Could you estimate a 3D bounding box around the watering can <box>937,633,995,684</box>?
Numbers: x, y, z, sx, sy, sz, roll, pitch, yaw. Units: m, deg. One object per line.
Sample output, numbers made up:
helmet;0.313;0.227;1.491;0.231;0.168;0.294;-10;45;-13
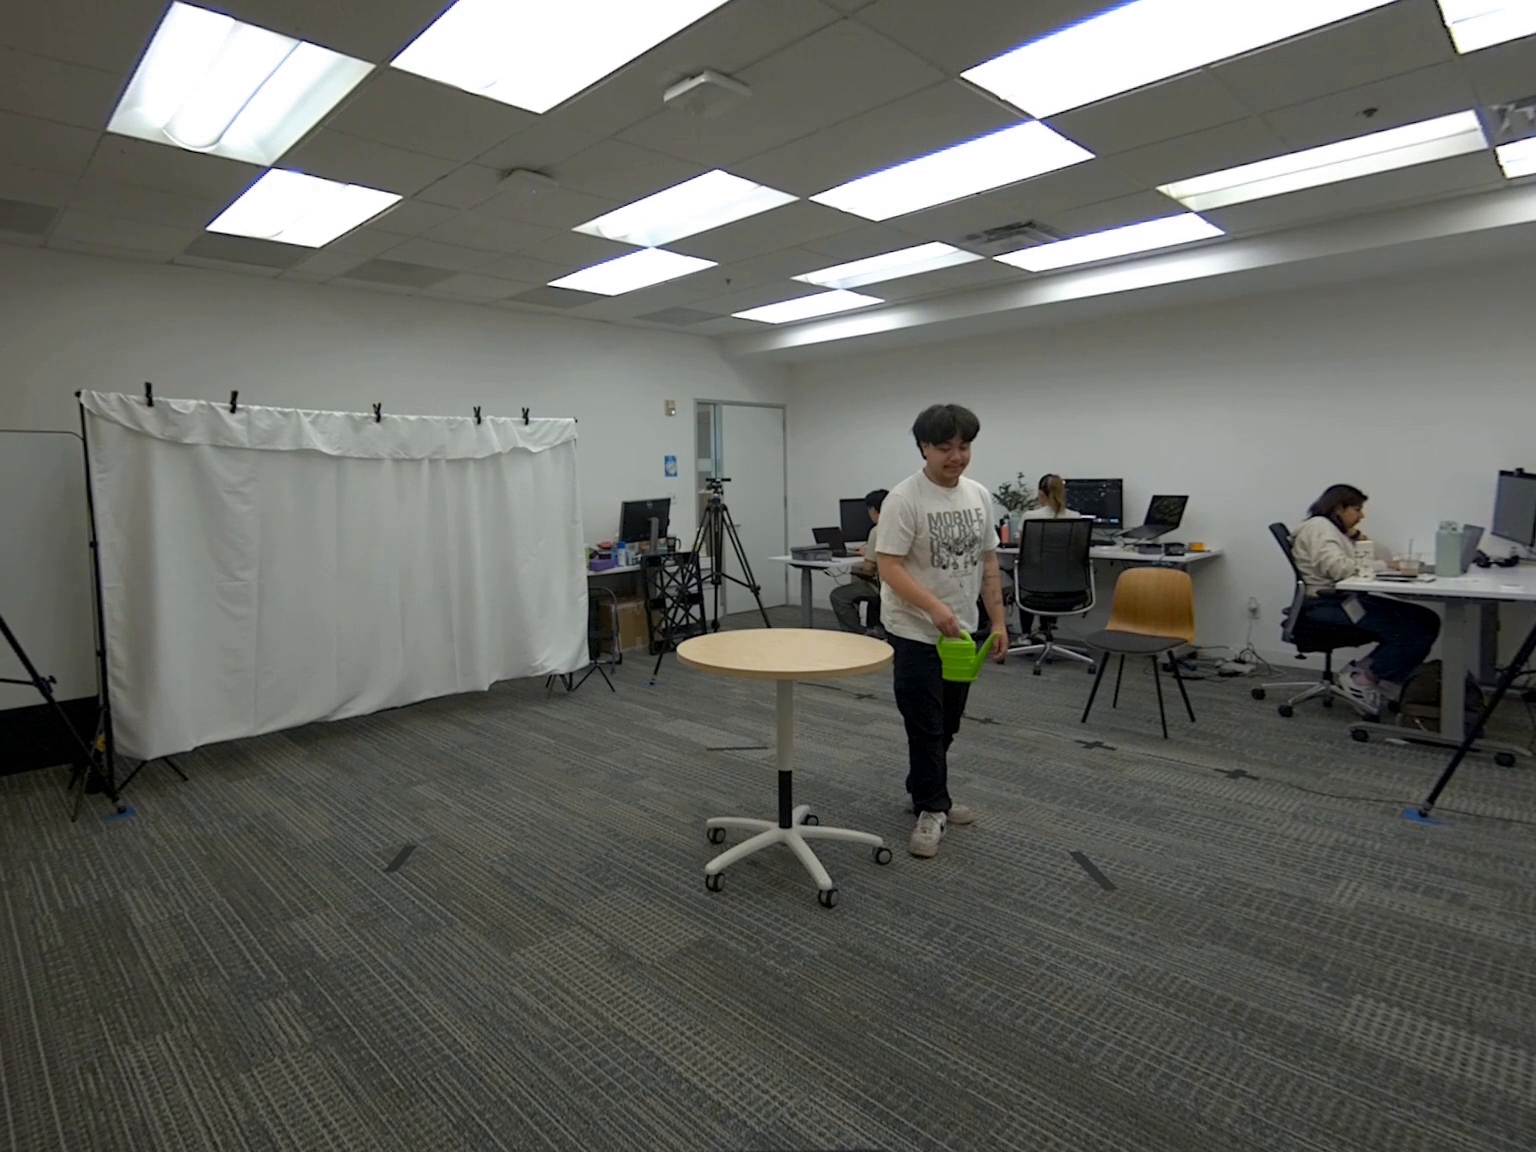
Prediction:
watering can;0.678;0.275;2.962;0.096;0.177;0.282;-2;0;-20
